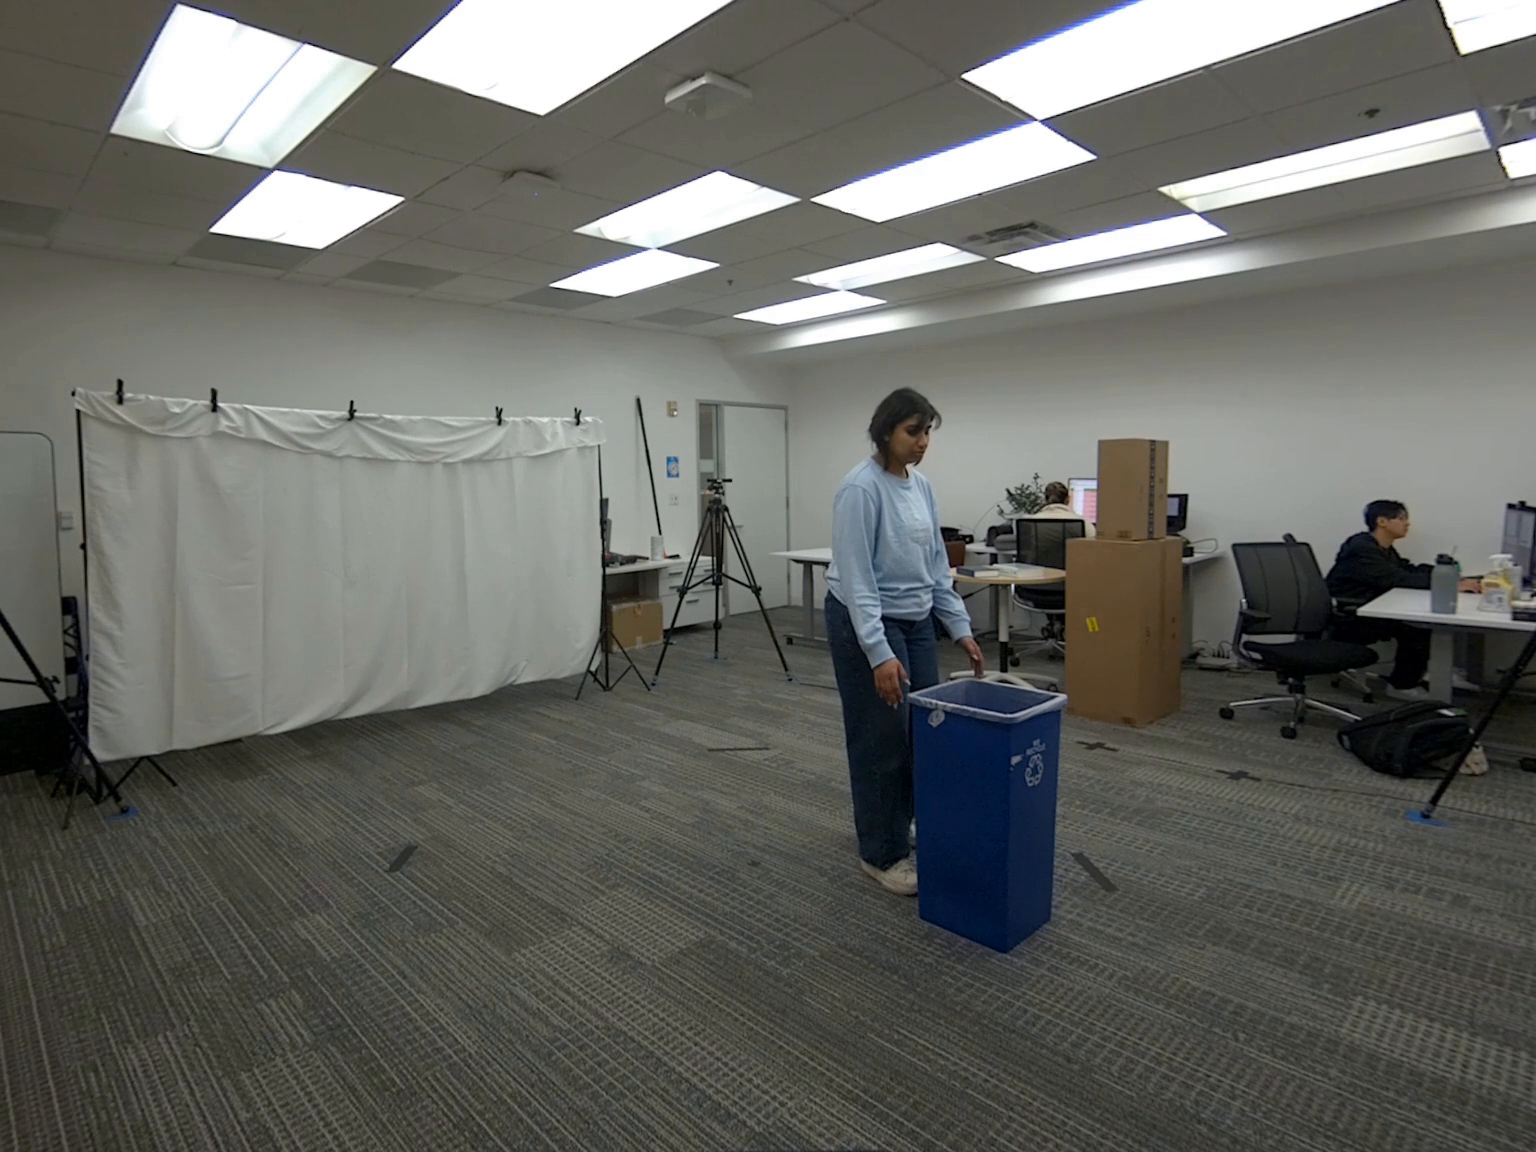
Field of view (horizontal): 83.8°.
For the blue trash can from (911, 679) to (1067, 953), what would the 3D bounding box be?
[{"bbox_3d":[0.687,0.724,2.678,0.364,0.711,0.390,-5,6,-44],"label":"blue trash can"}]
